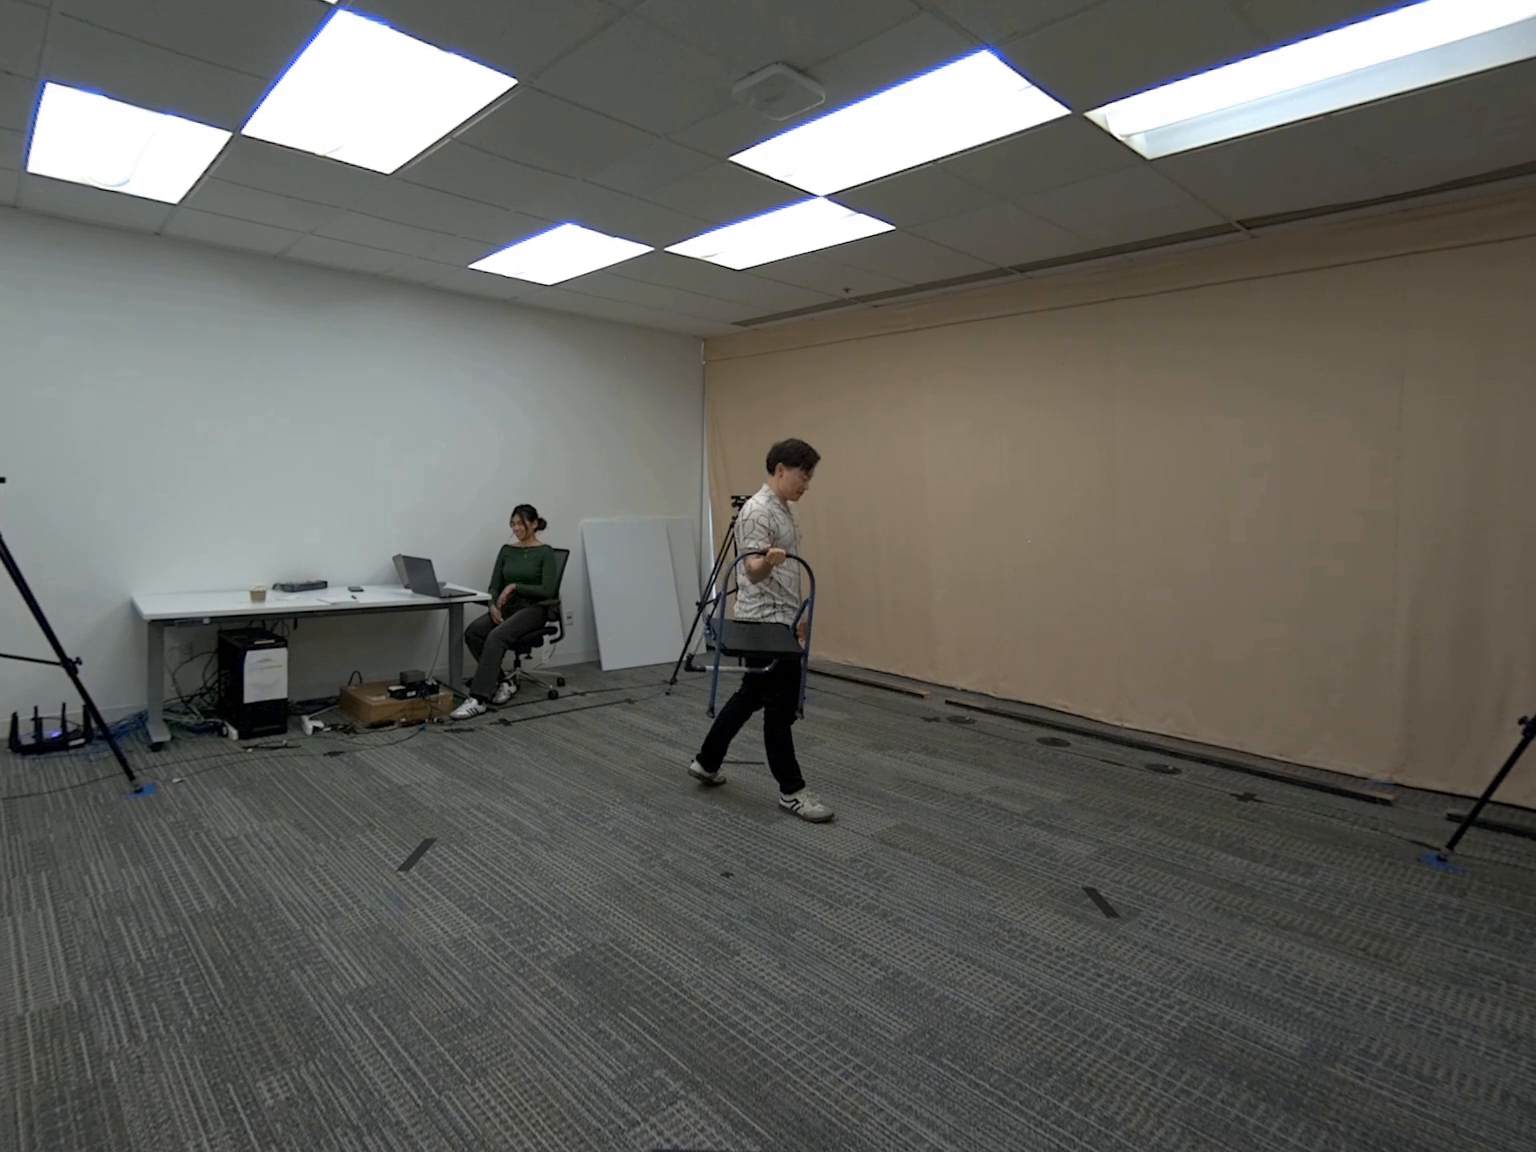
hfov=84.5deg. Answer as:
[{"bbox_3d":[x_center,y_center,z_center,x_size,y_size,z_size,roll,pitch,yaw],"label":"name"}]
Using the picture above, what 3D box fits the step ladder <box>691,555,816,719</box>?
[{"bbox_3d":[-0.028,0.212,3.341,0.421,0.600,0.360,6,22,-28],"label":"step ladder"}]
